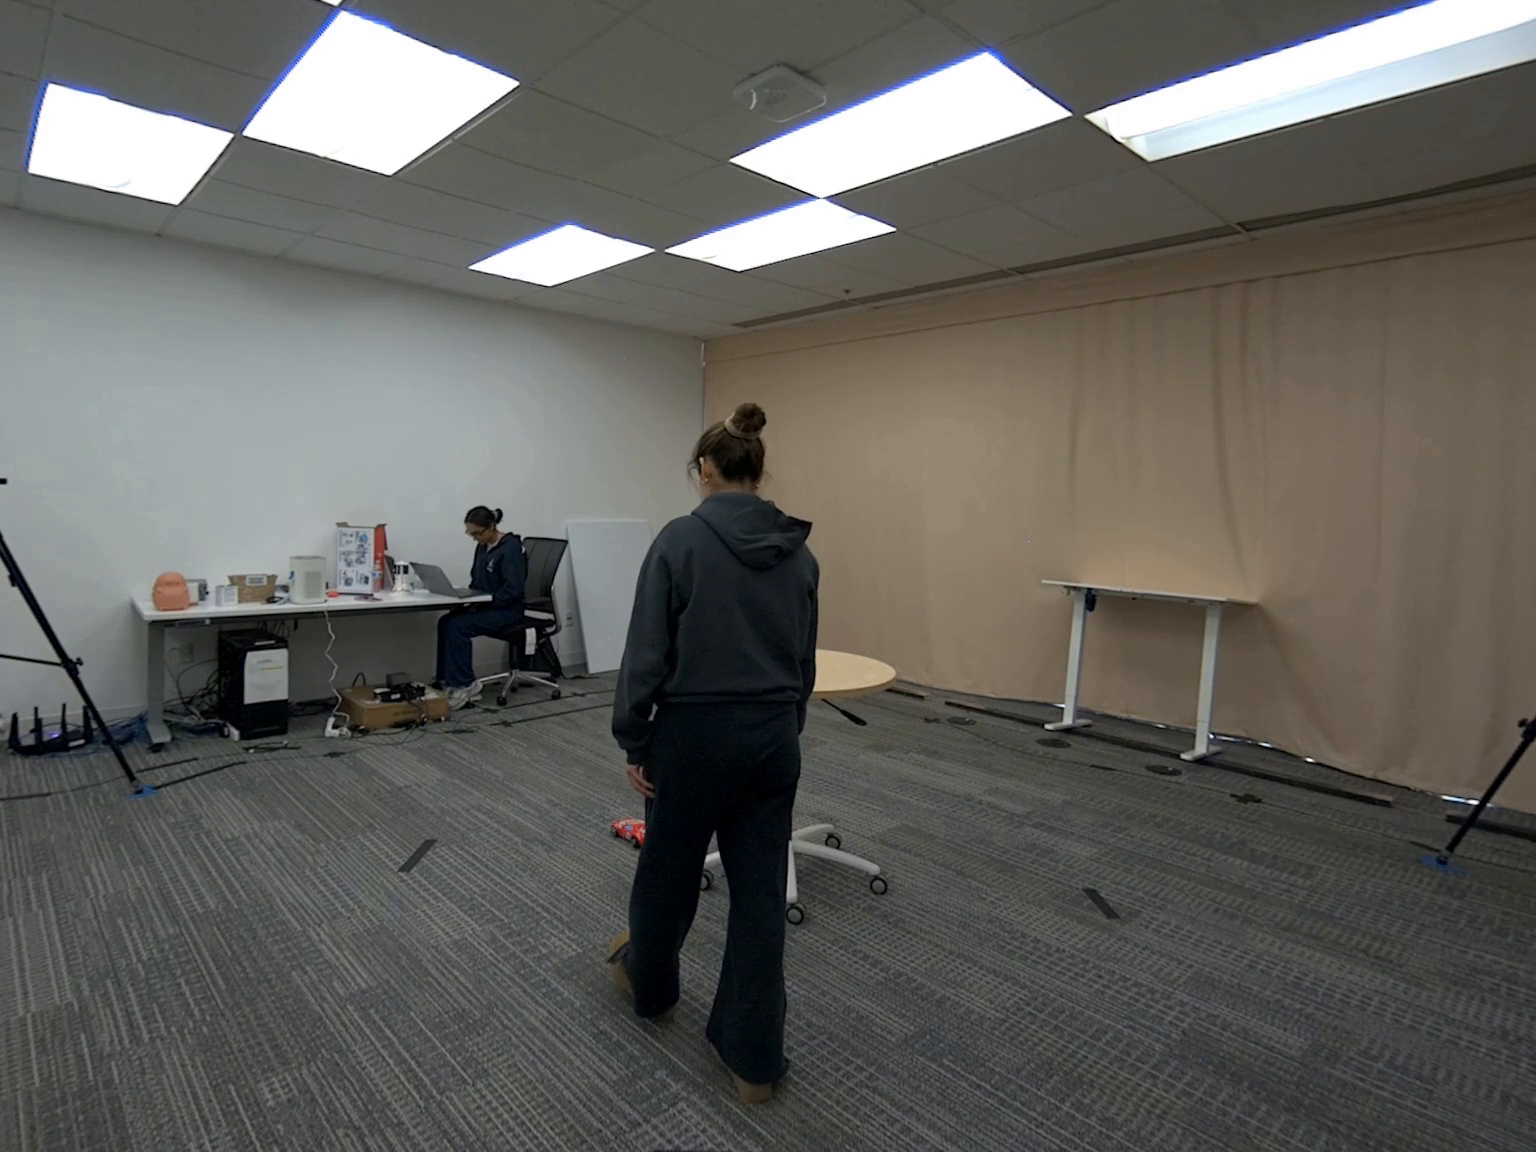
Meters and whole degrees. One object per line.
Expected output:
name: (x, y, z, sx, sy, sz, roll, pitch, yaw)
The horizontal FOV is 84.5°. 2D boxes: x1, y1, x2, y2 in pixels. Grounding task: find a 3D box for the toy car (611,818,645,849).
toy car: (-0.541, 1.043, 3.416, 0.127, 0.083, 0.260, -2, -4, -43)
